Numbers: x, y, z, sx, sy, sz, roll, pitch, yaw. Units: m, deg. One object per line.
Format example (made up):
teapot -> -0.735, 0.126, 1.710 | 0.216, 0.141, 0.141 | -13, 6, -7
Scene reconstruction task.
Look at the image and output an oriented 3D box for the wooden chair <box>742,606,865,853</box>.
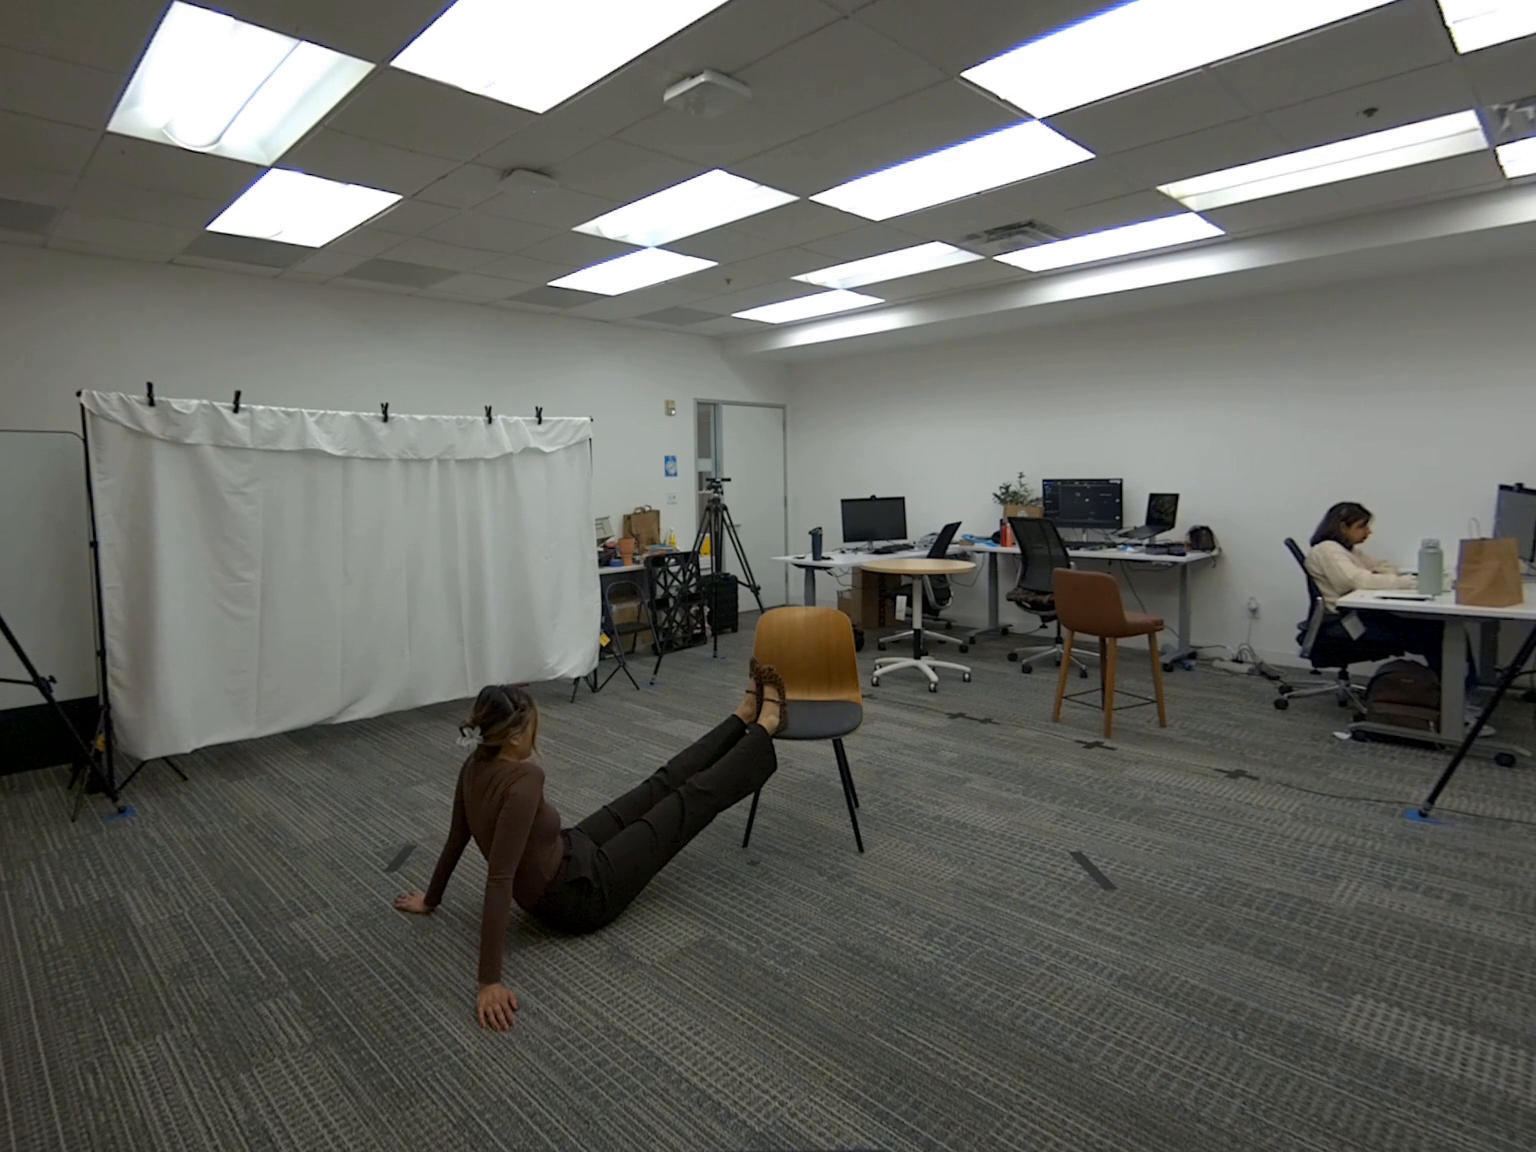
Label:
wooden chair -> 0.141, 0.580, 3.388 | 0.481, 0.877, 0.519 | 0, 0, 6
